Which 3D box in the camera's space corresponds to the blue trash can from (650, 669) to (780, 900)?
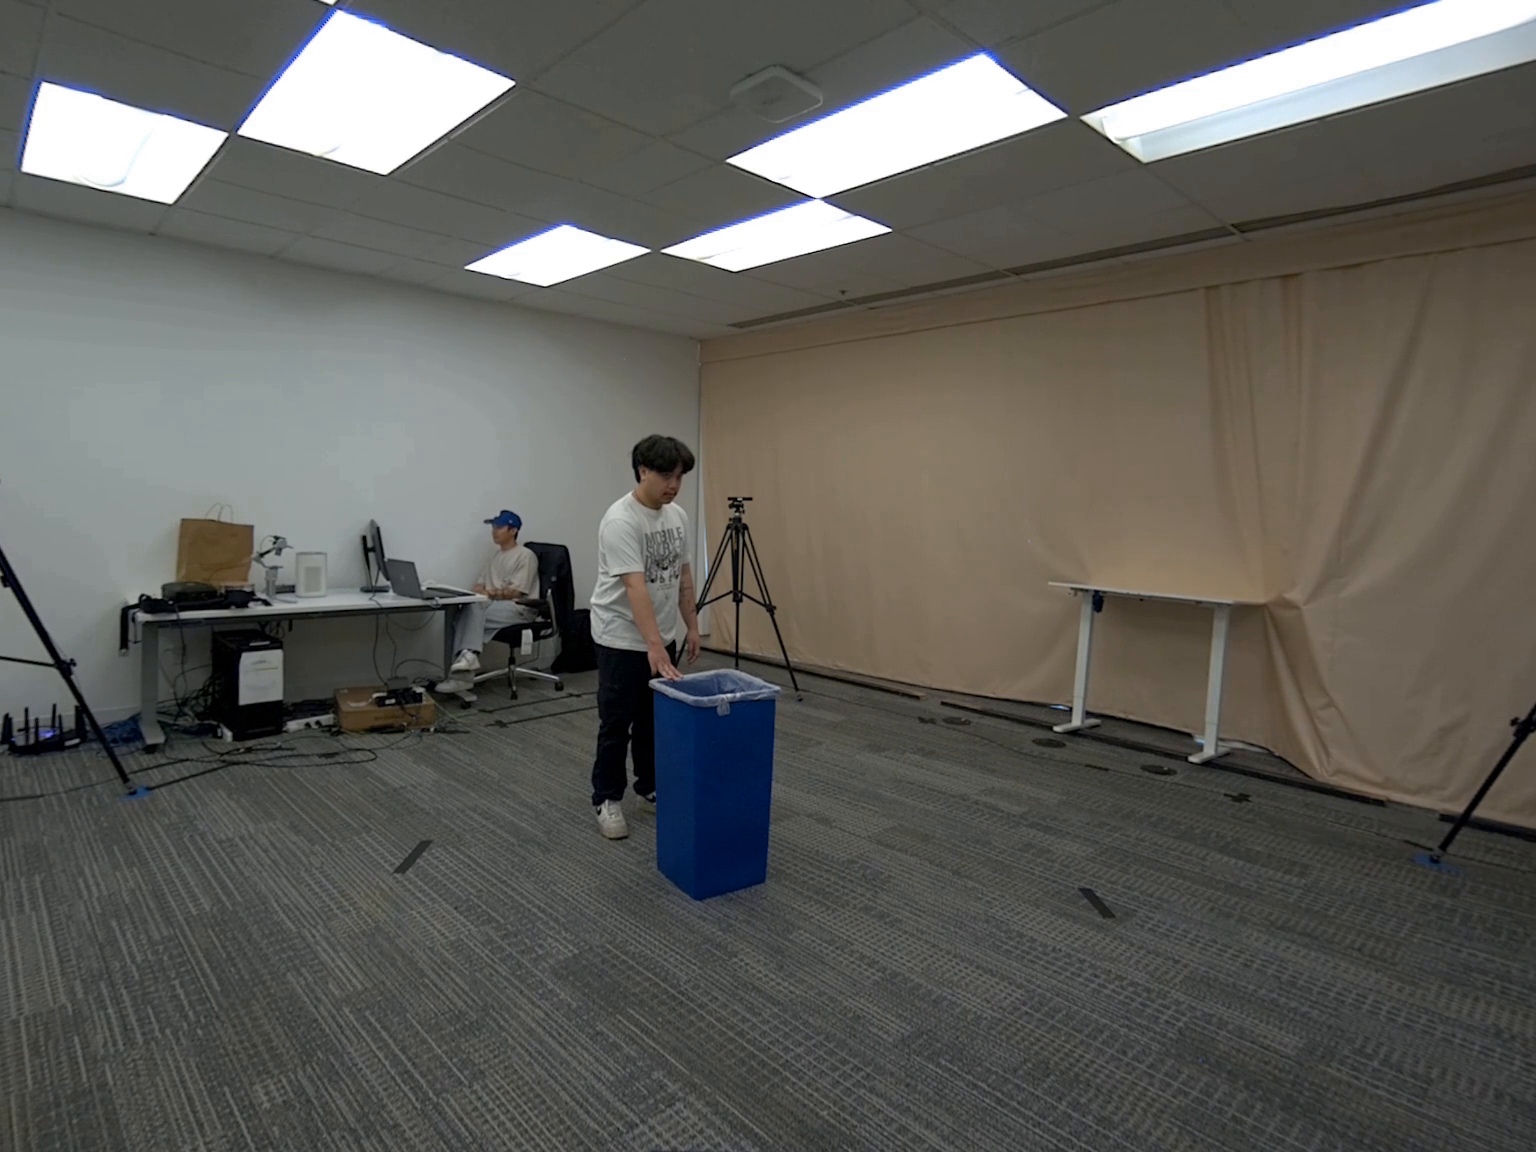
[{"bbox_3d":[-0.215,0.750,3.095,0.370,0.712,0.383,-1,4,-34],"label":"blue trash can"}]
